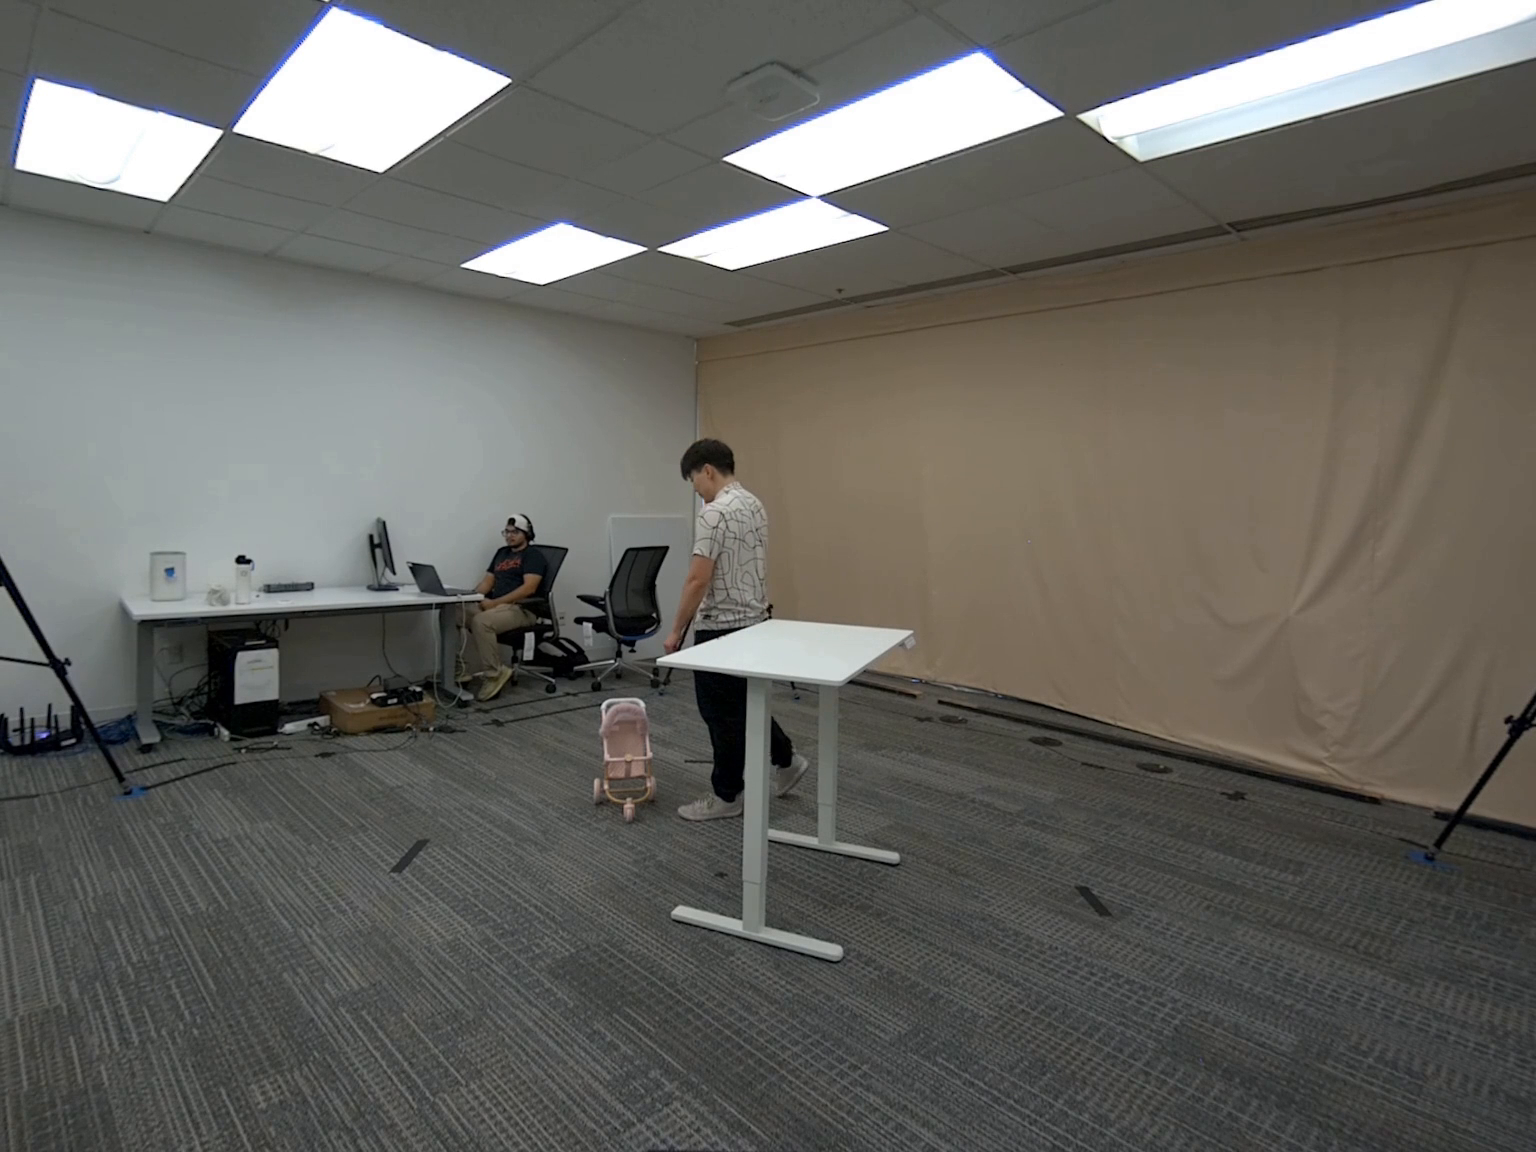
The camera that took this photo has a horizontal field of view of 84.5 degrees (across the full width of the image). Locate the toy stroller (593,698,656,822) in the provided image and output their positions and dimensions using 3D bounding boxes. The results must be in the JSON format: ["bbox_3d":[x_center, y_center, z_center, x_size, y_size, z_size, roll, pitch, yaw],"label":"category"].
[{"bbox_3d":[-0.643,0.805,3.757,0.279,0.540,0.341,1,-12,-10],"label":"toy stroller"}]
